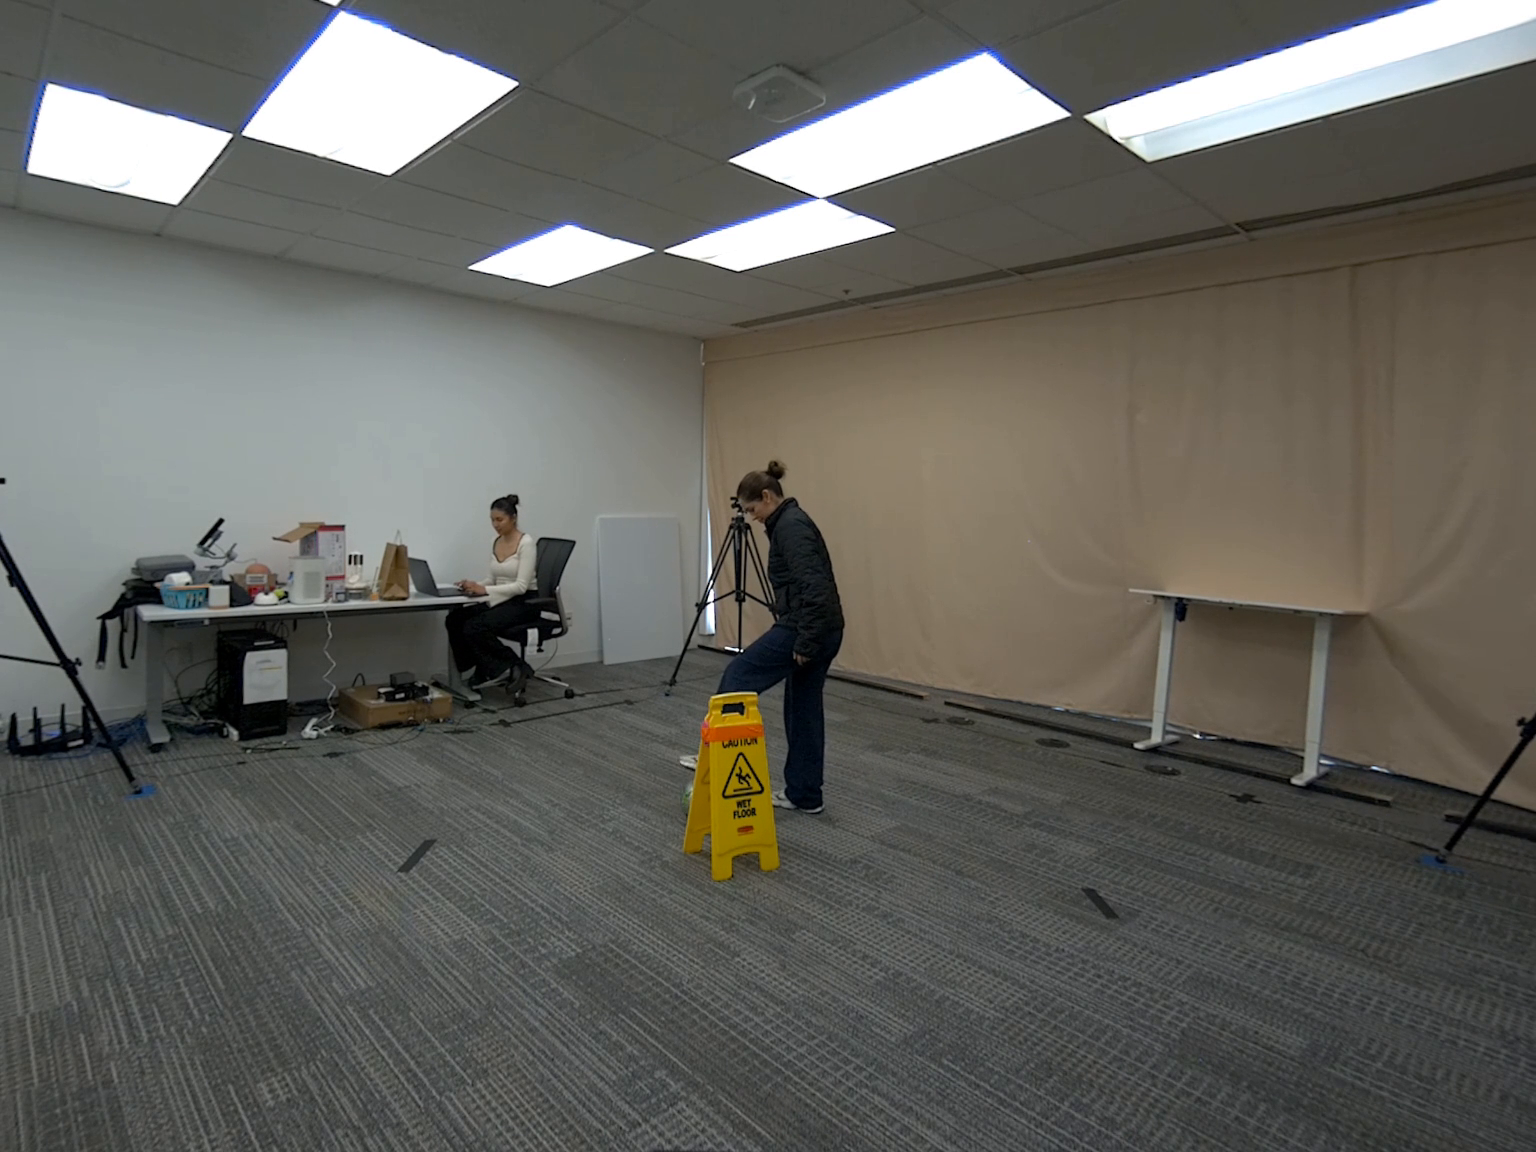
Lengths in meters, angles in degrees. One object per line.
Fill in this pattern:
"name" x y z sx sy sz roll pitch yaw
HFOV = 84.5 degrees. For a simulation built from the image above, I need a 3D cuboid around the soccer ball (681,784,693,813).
"soccer ball" -0.288 0.964 3.618 0.187 0.187 0.188 1 4 -1
